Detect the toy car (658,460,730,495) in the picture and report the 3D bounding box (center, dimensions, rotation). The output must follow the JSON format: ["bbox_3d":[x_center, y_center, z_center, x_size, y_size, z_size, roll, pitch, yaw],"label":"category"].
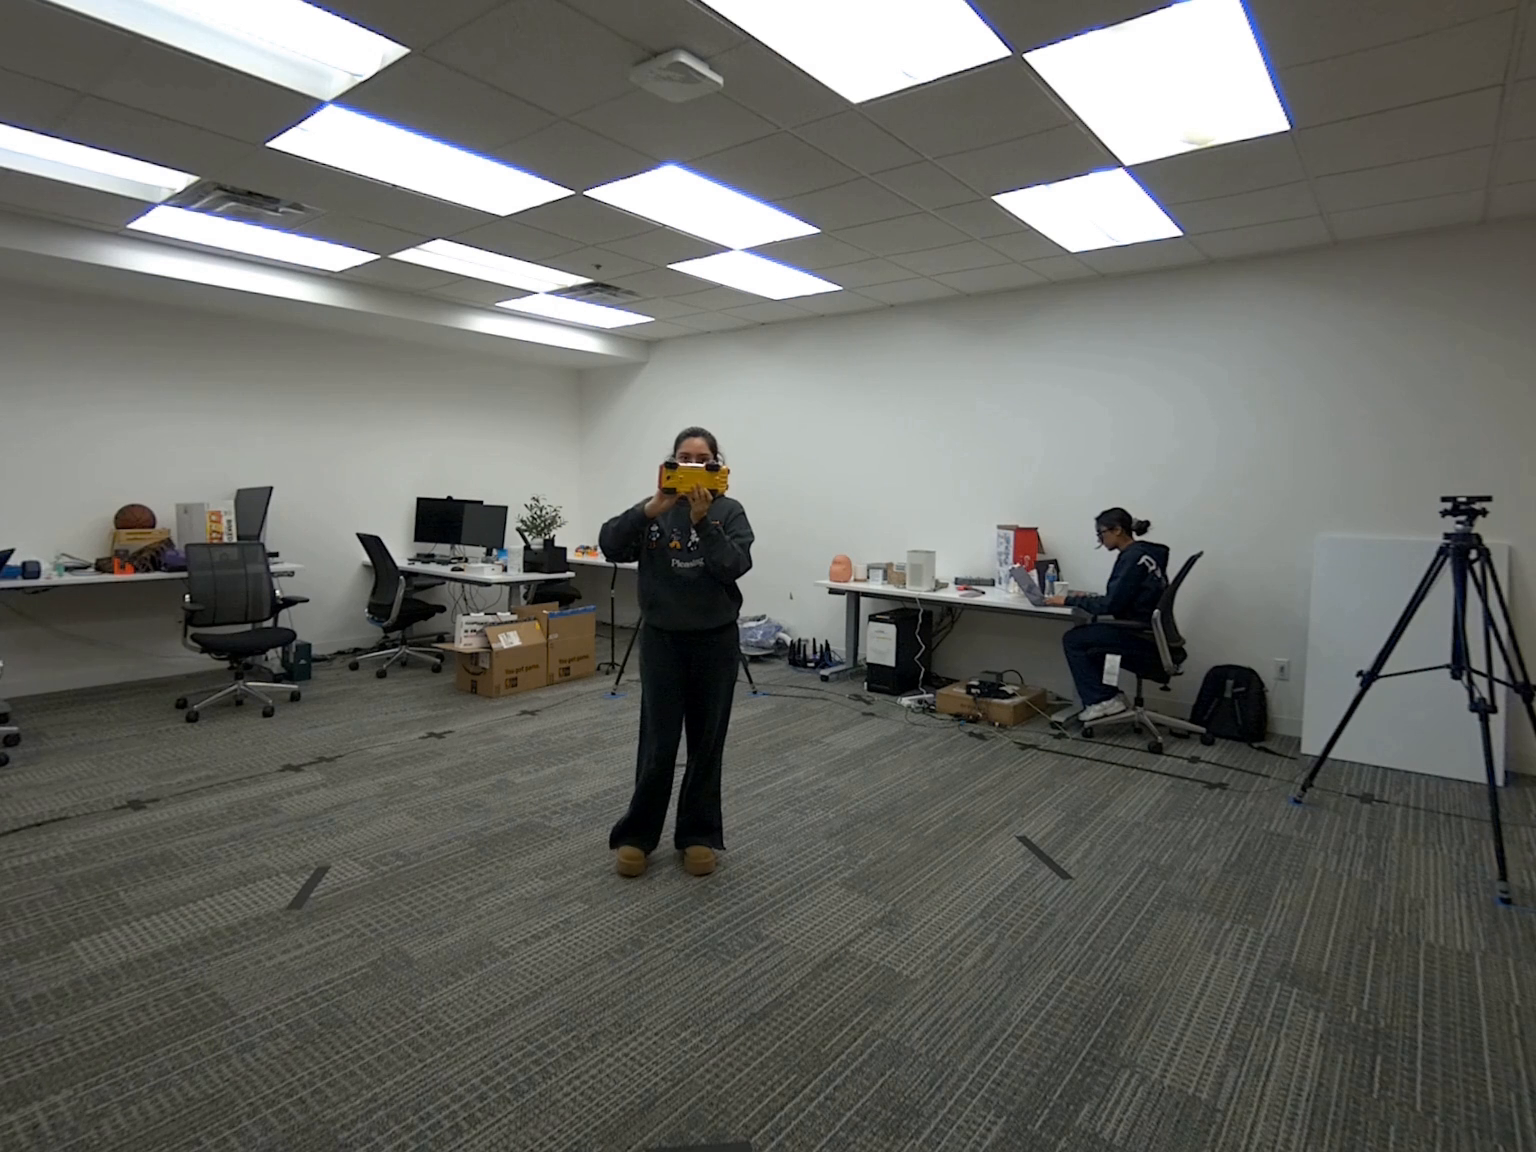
[{"bbox_3d":[-0.254,-0.333,2.842,0.248,0.129,0.086,-3,13,-30],"label":"toy car"}]
